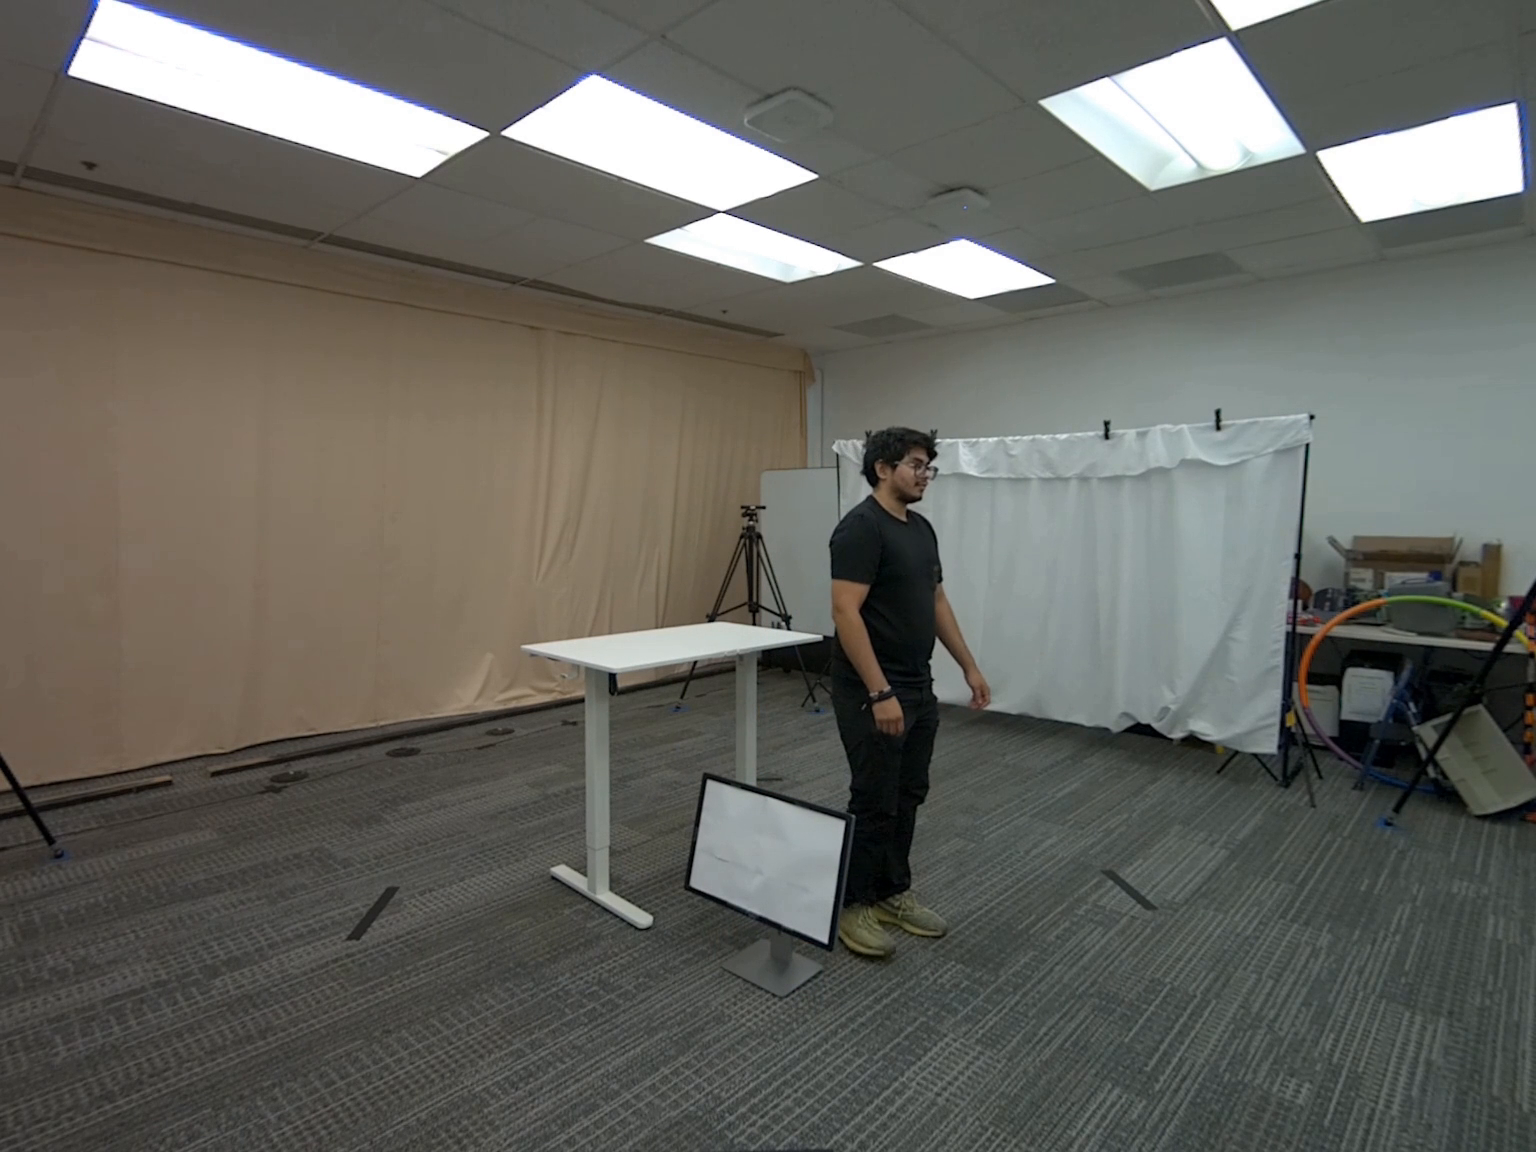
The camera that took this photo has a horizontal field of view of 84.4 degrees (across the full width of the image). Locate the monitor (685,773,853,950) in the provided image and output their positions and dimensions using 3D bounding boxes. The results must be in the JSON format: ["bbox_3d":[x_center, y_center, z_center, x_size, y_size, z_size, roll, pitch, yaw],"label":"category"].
[{"bbox_3d":[0.029,0.914,2.540,0.584,0.554,0.203,3,-1,41],"label":"monitor"}]
